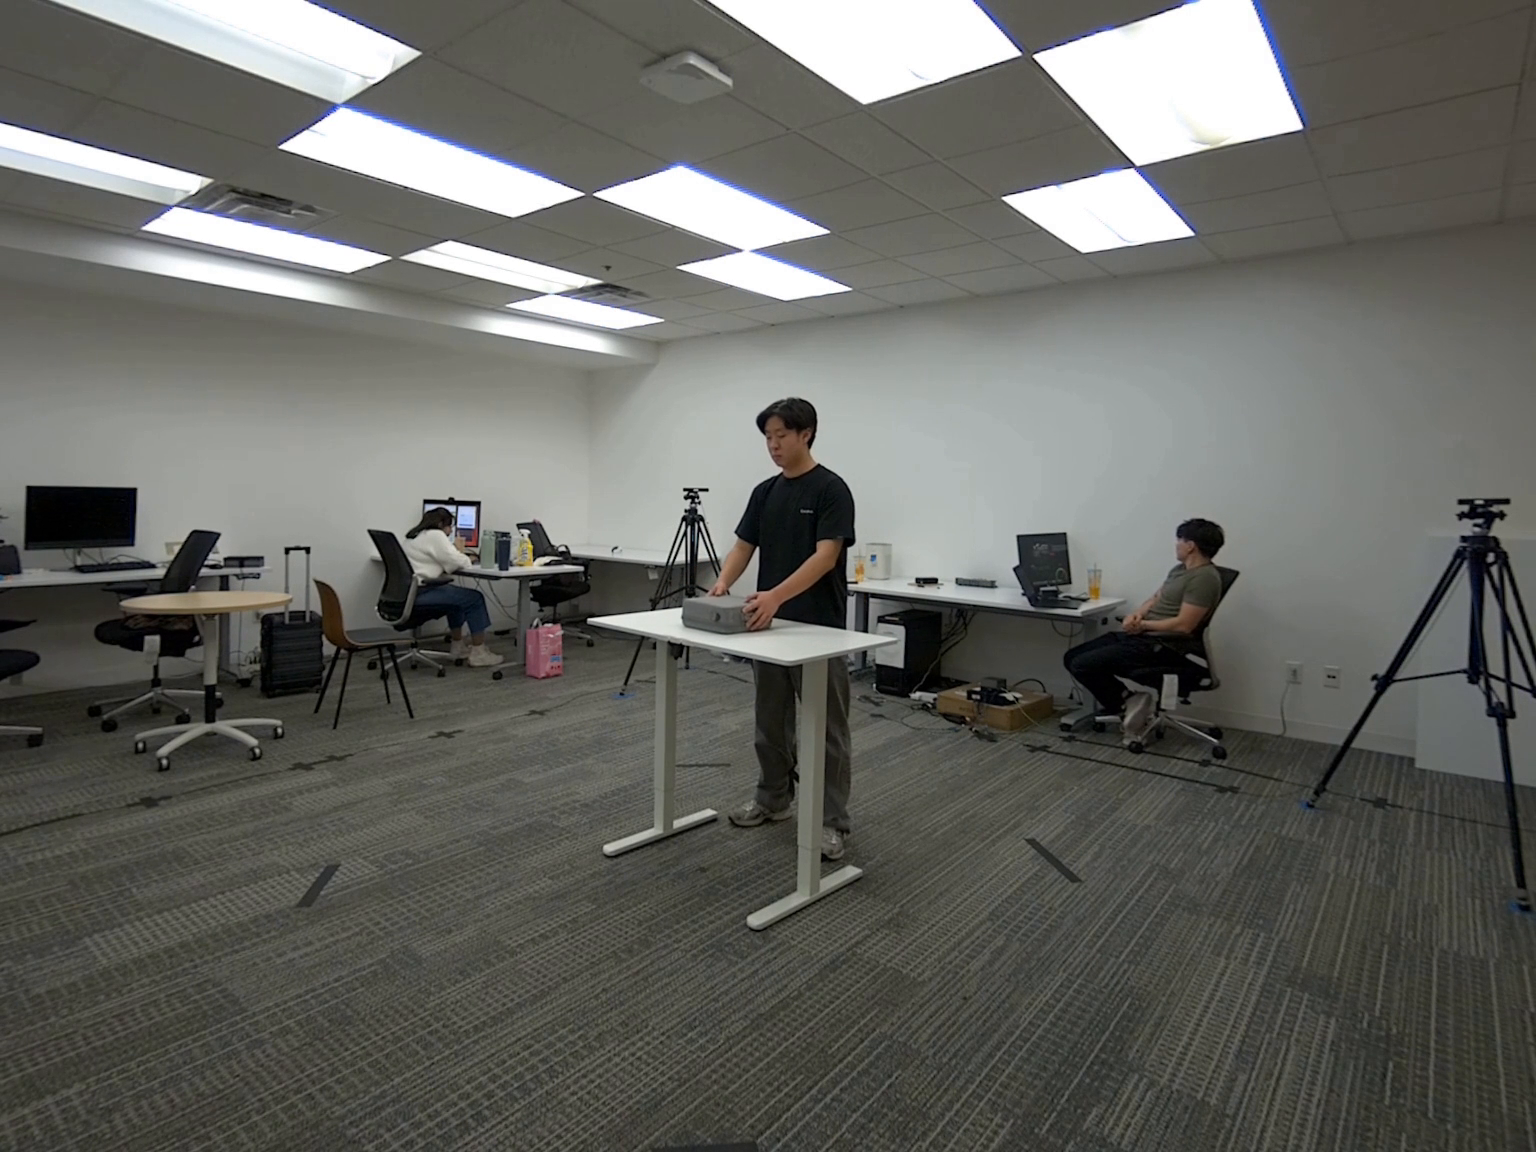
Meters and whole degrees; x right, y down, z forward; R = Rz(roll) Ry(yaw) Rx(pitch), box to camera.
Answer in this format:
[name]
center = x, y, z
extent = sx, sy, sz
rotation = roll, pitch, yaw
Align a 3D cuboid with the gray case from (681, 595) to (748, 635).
[gray case]
center = -0.155, 0.140, 3.096
extent = 0.255, 0.102, 0.297
rotation = -3, 7, -39
